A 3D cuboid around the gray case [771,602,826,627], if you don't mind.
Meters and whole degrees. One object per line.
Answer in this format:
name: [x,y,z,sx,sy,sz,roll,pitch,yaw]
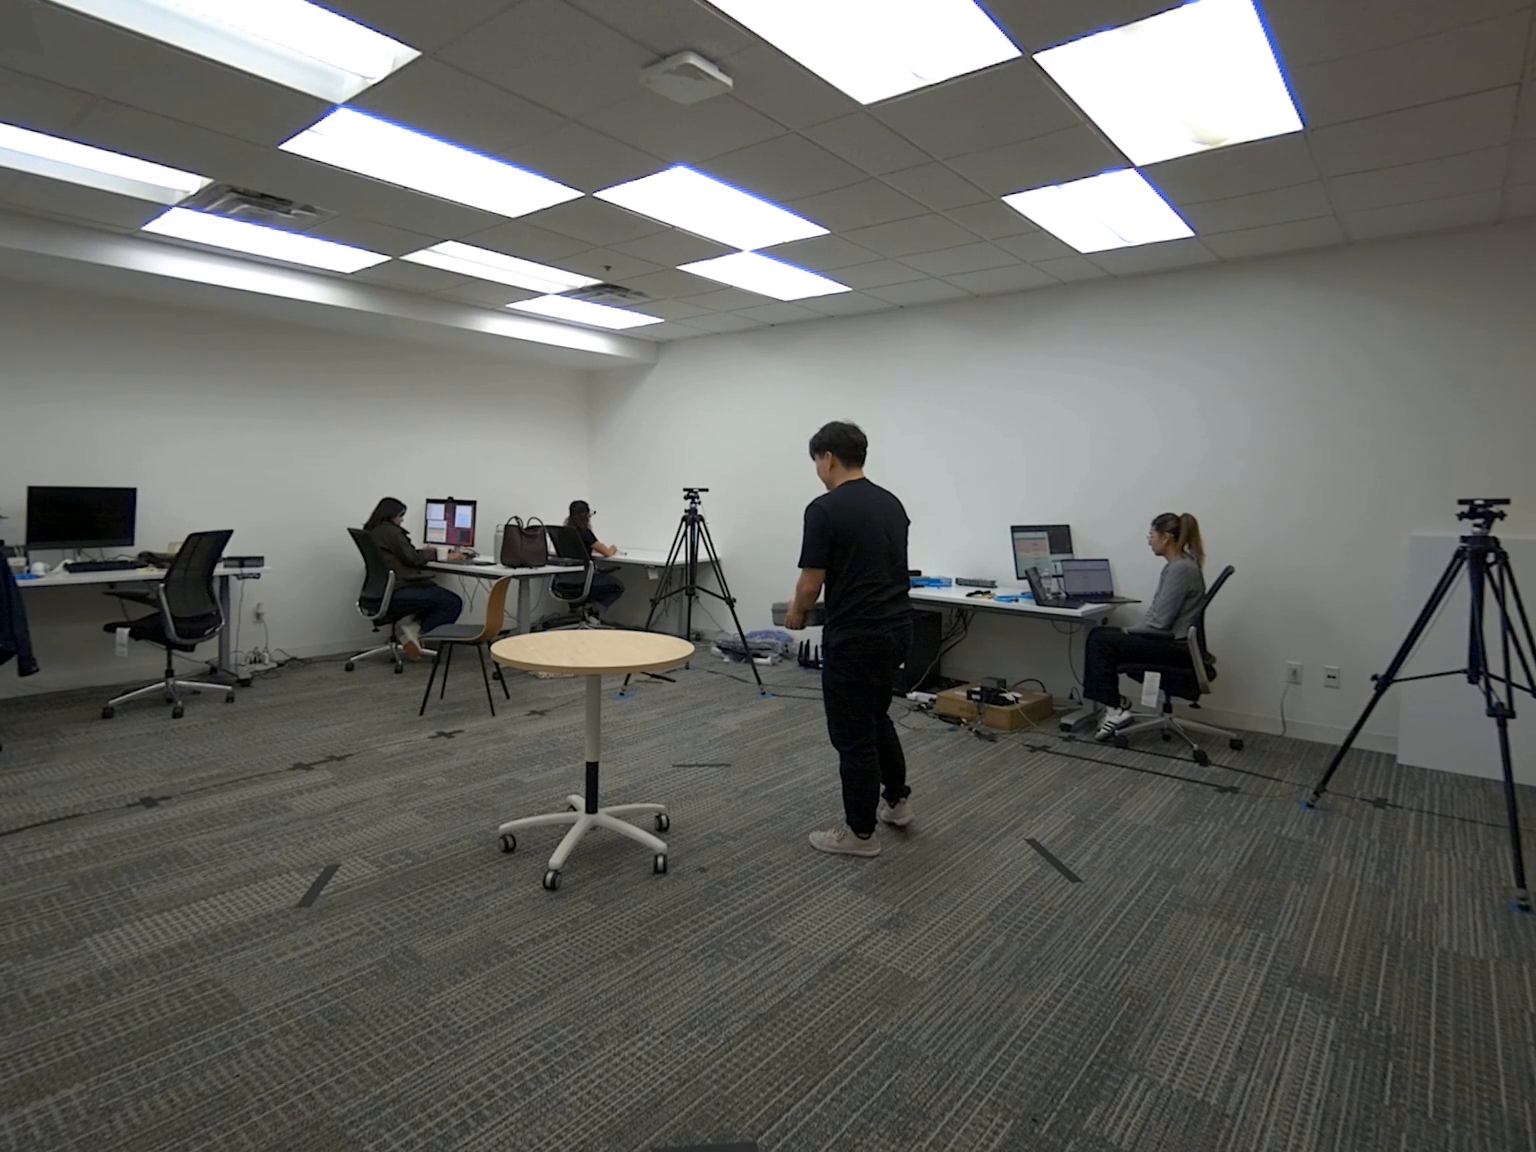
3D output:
gray case: [0.171,0.152,3.518,0.249,0.104,0.269,-1,0,-45]
